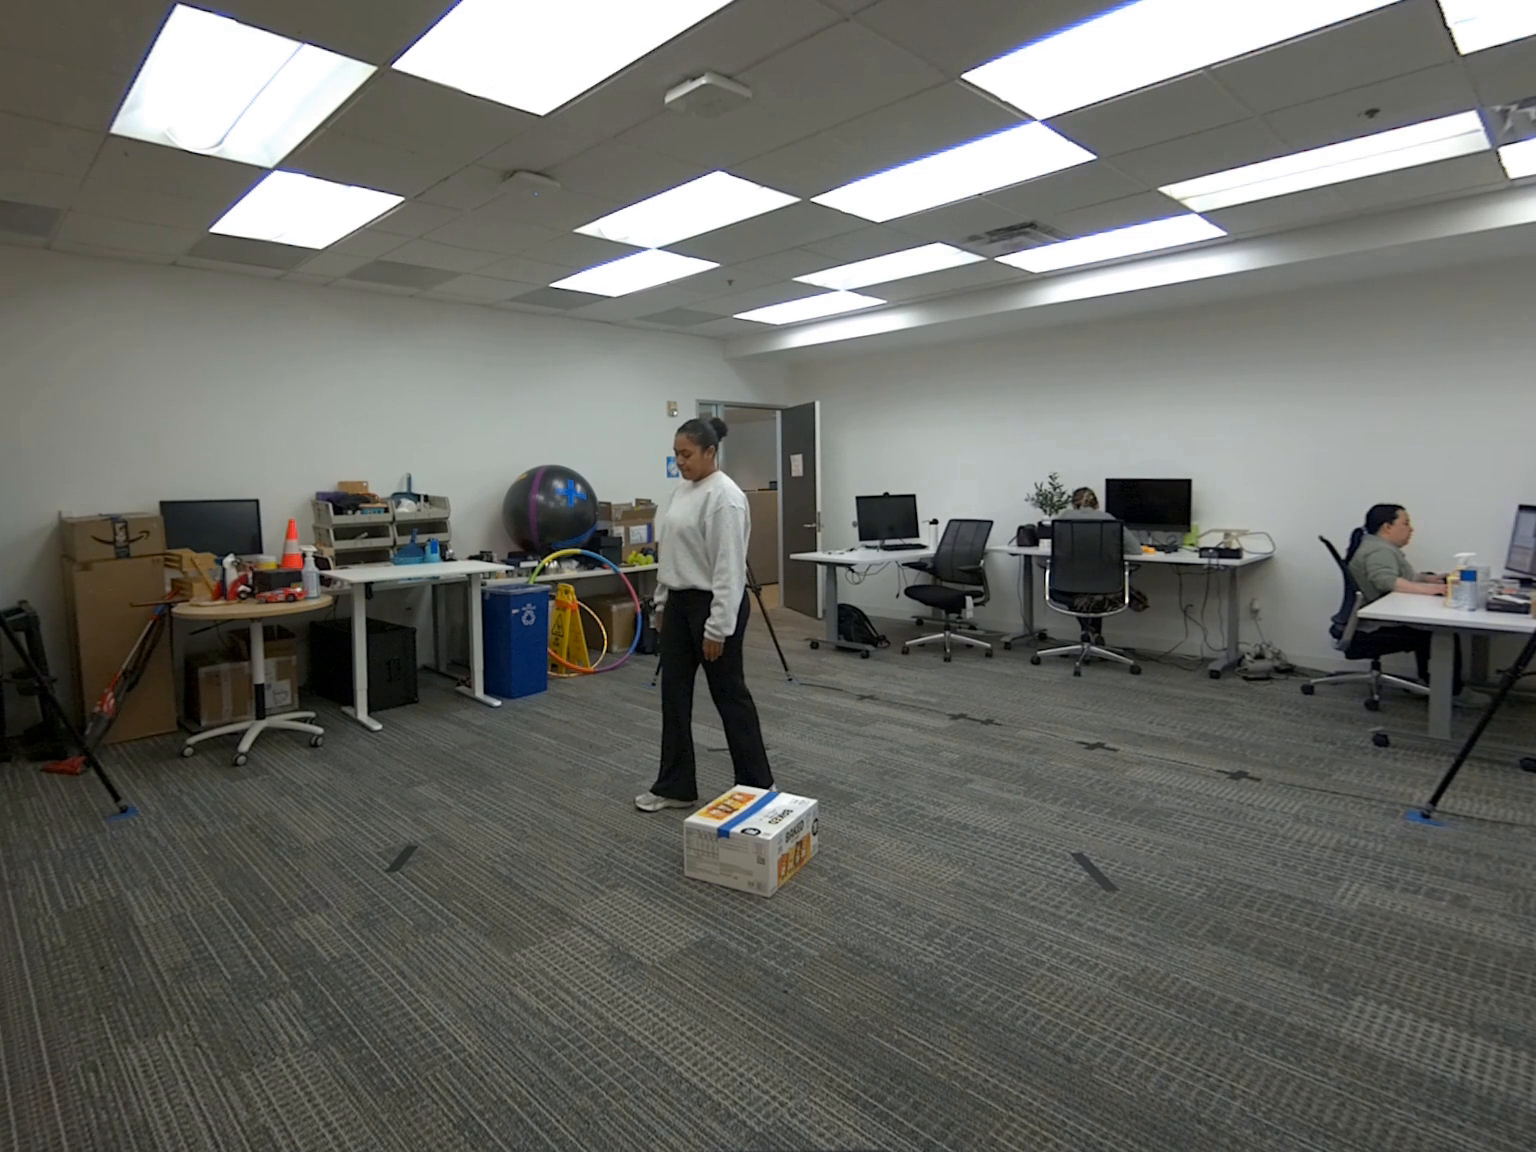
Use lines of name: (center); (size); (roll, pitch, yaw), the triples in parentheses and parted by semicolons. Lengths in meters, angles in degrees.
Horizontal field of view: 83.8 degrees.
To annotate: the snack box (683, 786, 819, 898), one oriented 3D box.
snack box: (-0.052, 0.946, 3.090); (0.349, 0.205, 0.397); (2, 7, 28)
